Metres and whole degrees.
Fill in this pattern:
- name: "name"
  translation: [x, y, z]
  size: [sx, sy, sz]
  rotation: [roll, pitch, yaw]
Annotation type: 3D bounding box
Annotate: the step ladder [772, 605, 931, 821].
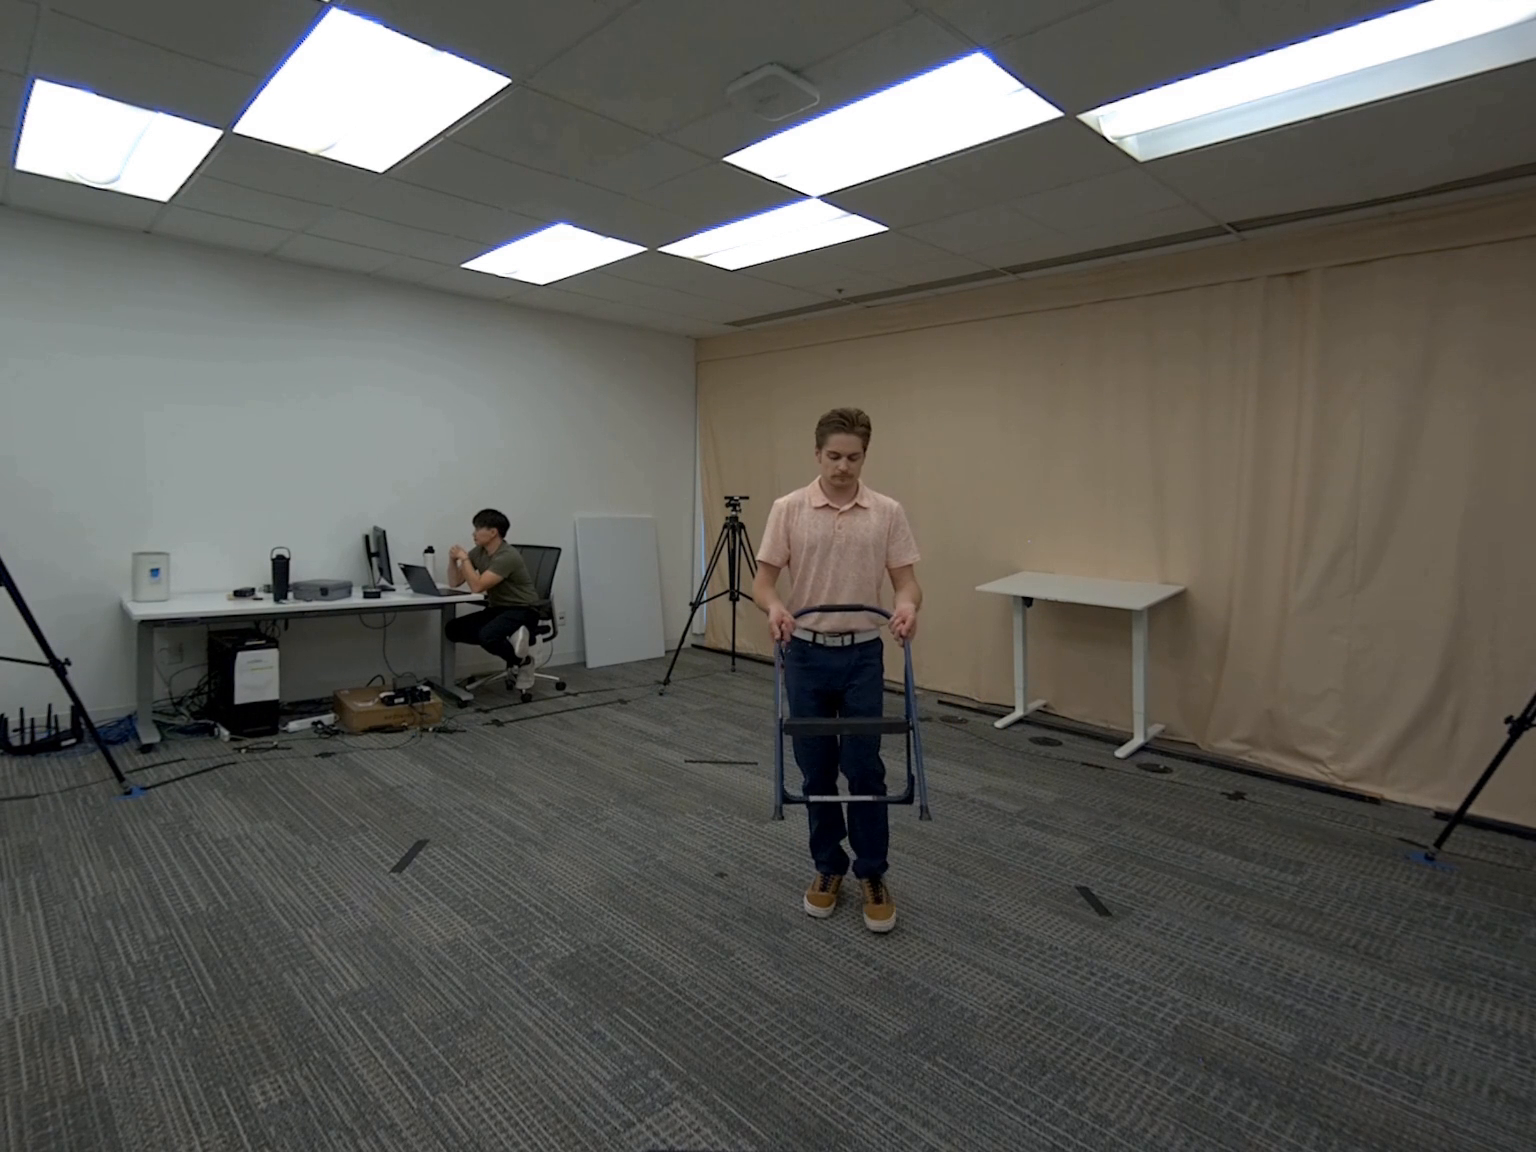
- name: "step ladder"
  translation: [0.224, 0.390, 2.497]
  size: [0.432, 0.611, 0.346]
  rotation: [-1, -10, 3]
